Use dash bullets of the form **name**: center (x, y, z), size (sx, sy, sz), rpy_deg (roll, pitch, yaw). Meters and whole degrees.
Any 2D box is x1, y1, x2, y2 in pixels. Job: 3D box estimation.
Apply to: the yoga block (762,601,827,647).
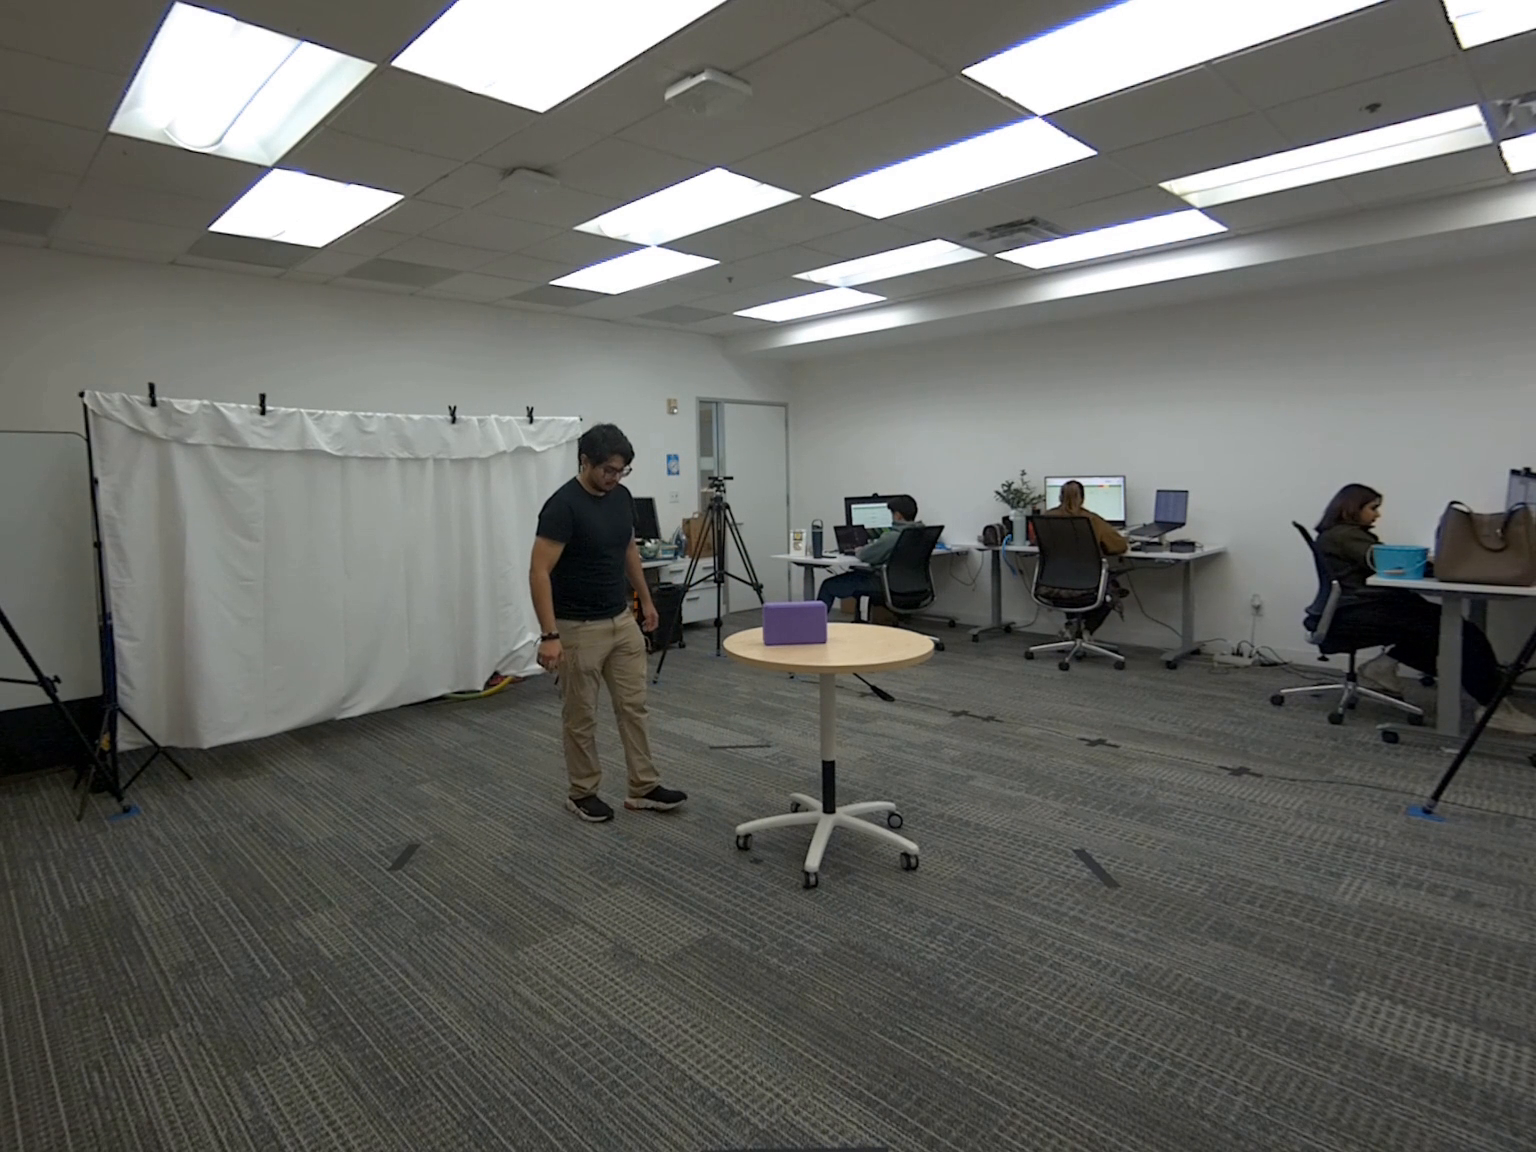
- **yoga block**: center (0.102, 0.171, 3.136), size (0.229, 0.148, 0.077), rpy_deg (-2, 4, -2)
